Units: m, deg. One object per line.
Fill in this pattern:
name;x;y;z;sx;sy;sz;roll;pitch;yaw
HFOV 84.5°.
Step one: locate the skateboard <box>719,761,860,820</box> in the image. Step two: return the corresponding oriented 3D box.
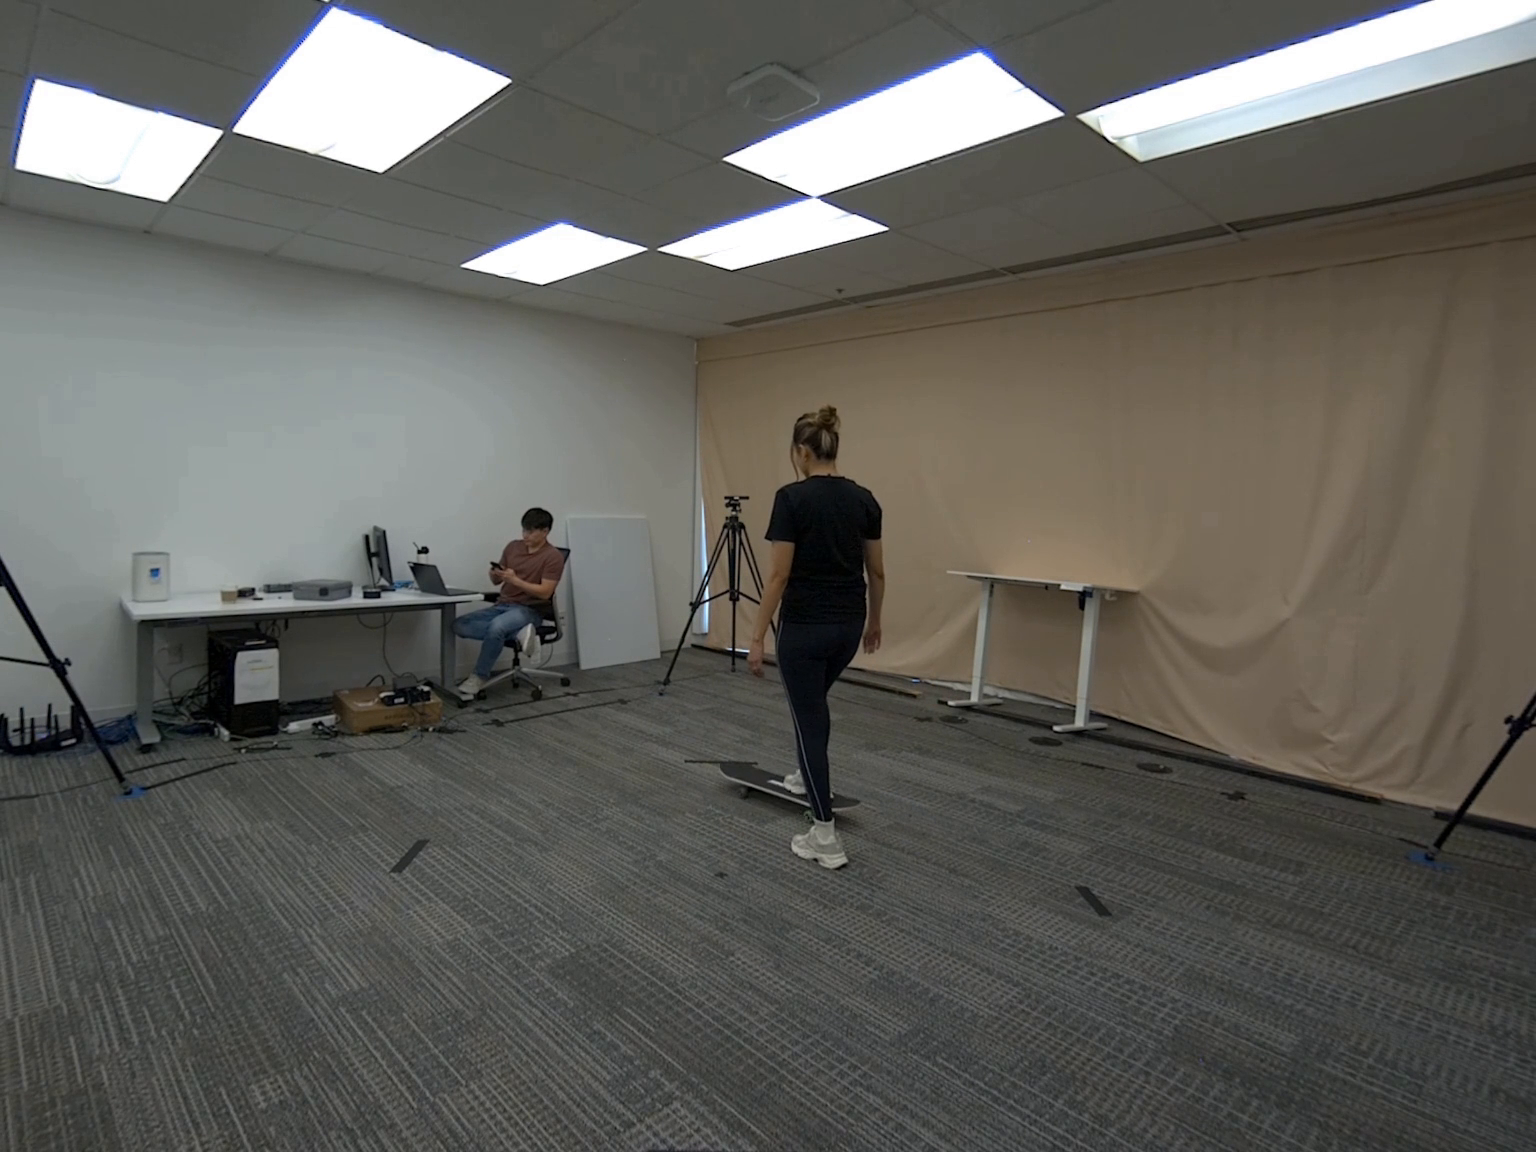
skateboard;0.071;0.992;3.828;0.806;0.110;0.189;6;7;43
